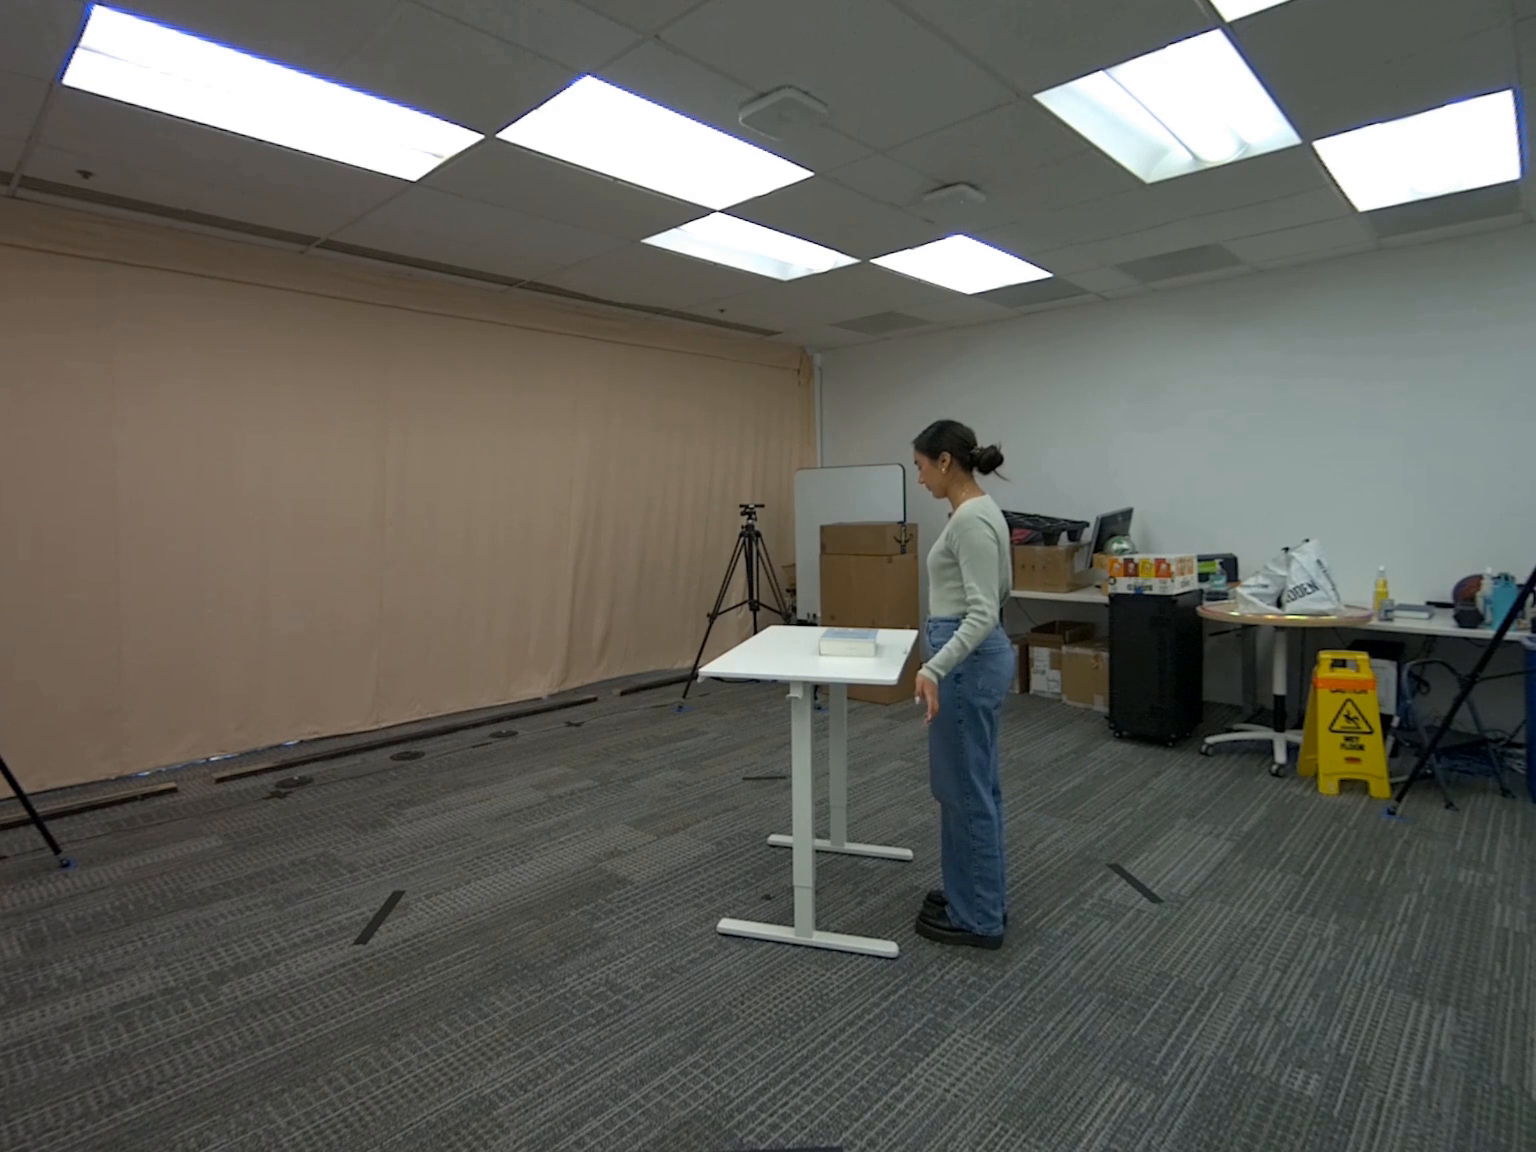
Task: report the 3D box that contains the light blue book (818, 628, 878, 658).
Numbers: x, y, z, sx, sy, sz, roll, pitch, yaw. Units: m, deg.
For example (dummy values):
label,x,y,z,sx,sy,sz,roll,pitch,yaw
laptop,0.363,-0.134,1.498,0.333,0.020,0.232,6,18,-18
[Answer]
label,x,y,z,sx,sy,sz,roll,pitch,yaw
light blue book,0.291,0.230,2.923,0.194,0.059,0.258,1,5,11
